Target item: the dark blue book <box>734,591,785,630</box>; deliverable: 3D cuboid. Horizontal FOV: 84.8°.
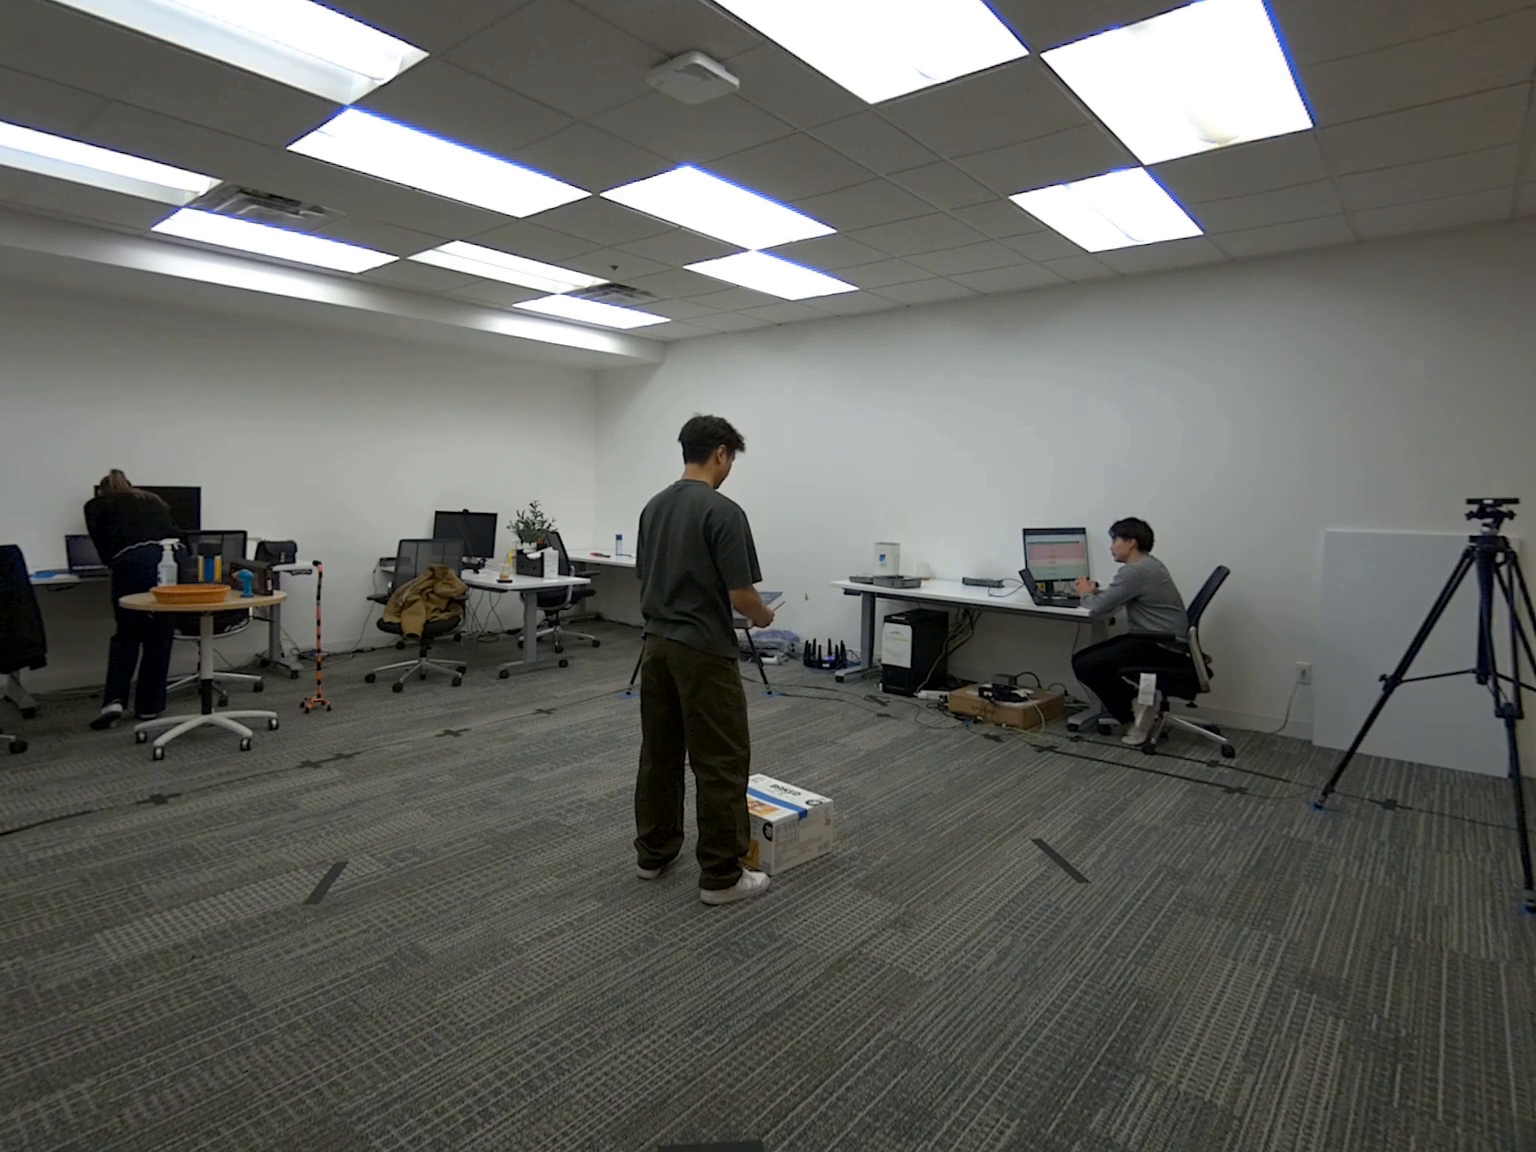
[{"bbox_3d":[-0.074,0.126,3.167,0.168,0.044,0.242,-2,21,36],"label":"dark blue book"}]
